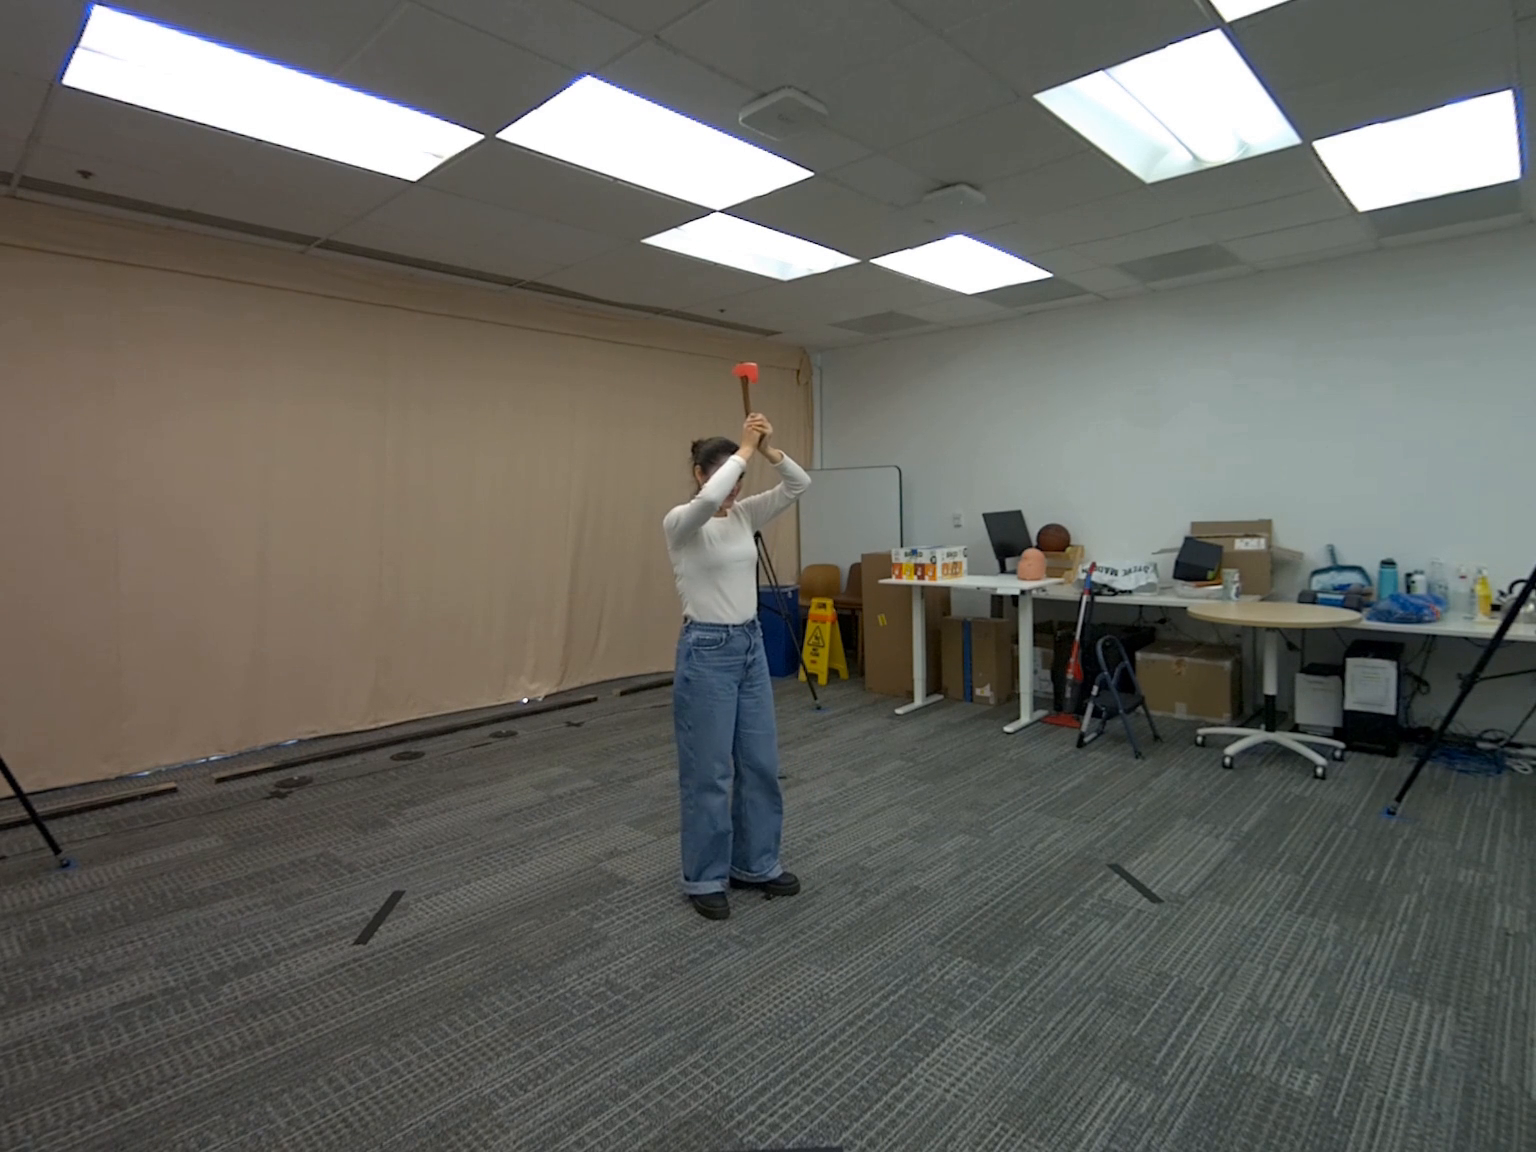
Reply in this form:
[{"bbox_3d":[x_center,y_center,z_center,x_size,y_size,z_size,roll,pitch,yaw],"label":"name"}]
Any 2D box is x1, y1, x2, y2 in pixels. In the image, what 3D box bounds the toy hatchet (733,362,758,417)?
[{"bbox_3d":[-0.041,-0.582,2.756,0.029,0.273,0.133,-7,-13,-36],"label":"toy hatchet"}]
